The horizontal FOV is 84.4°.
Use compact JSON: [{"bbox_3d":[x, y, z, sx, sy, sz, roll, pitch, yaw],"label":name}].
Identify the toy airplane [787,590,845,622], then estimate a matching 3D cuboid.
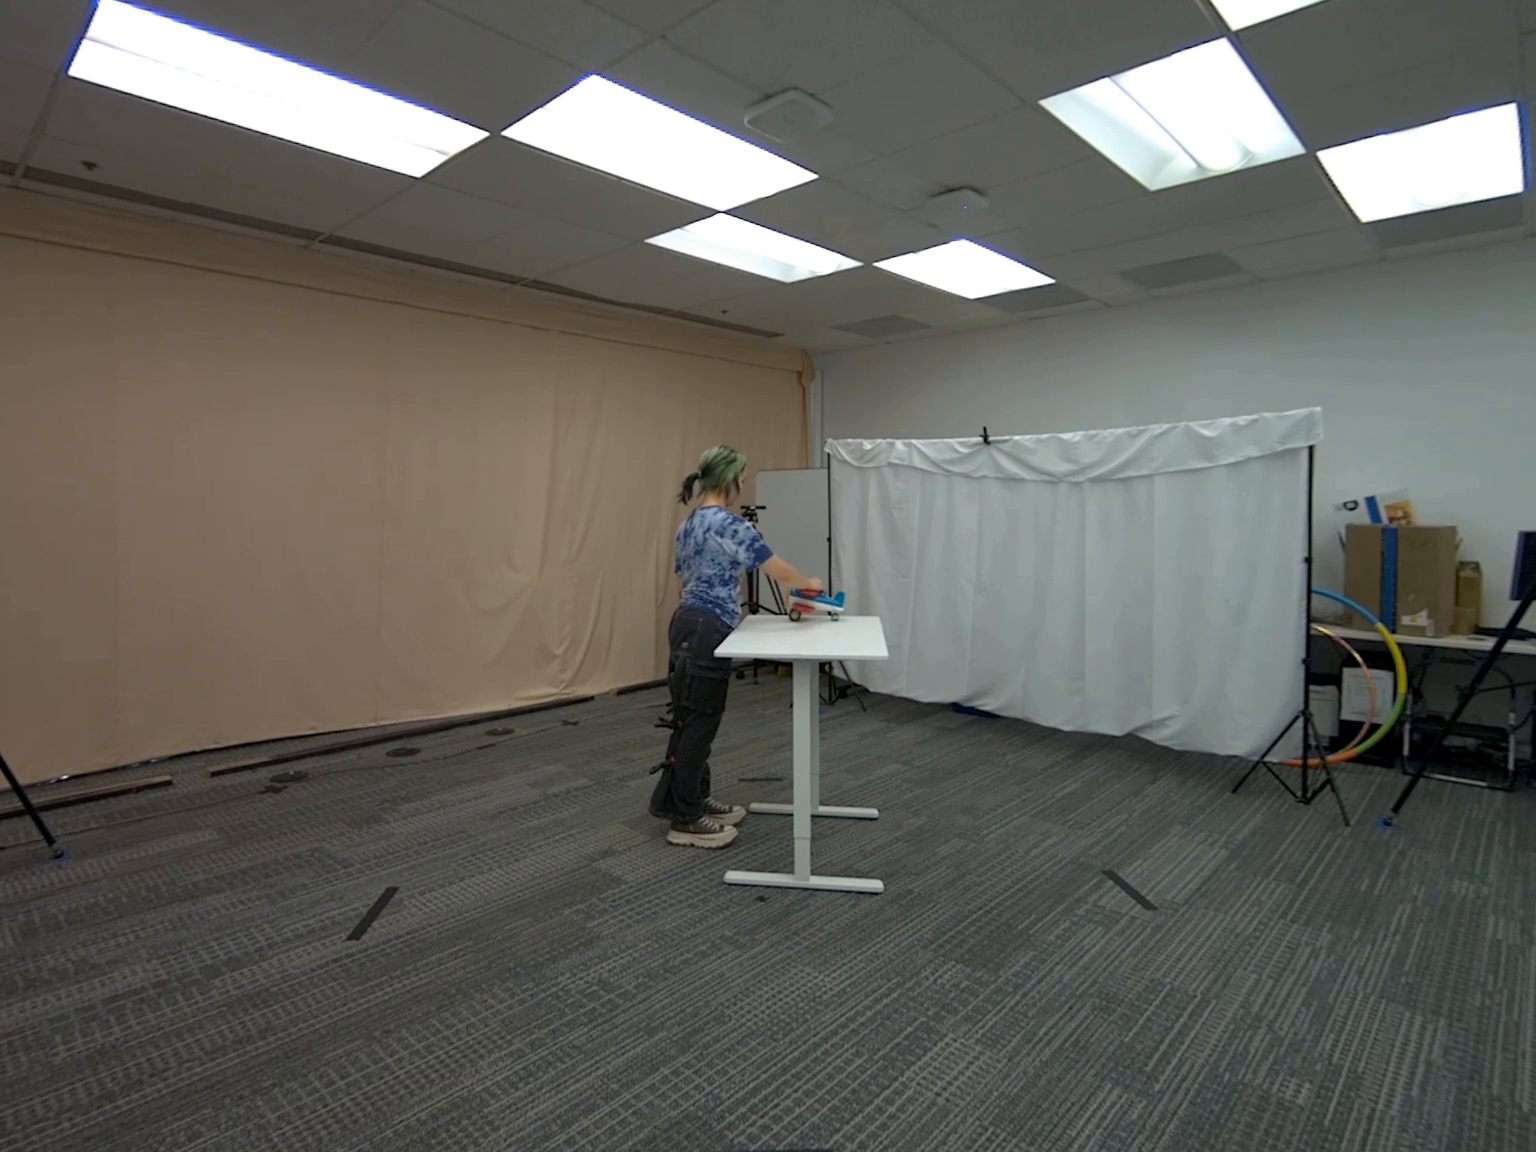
[{"bbox_3d":[0.201,0.119,3.750,0.253,0.156,0.257,-3,6,-24],"label":"toy airplane"}]
